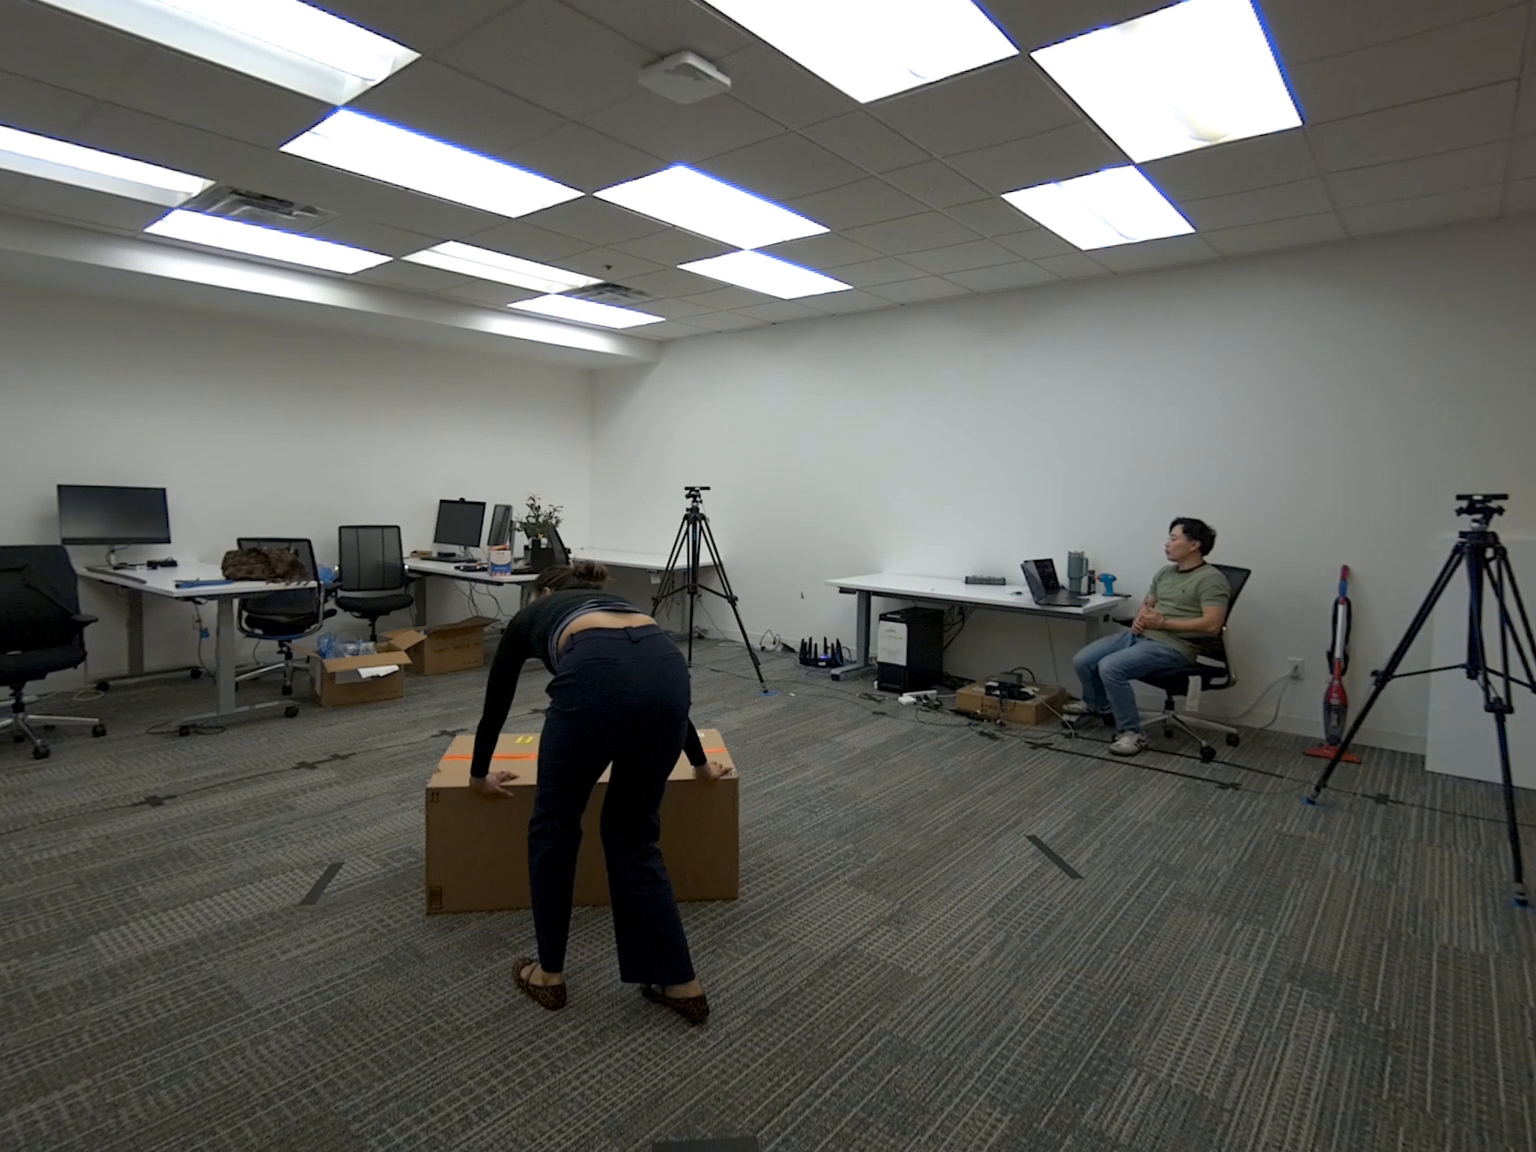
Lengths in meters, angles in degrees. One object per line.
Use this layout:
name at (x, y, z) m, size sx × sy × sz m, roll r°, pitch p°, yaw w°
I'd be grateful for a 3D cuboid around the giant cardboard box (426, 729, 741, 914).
giant cardboard box at (-0.663, 0.847, 3.080) m, size 1.017 × 0.424 × 0.585 m, roll 0°, pitch 6°, yaw -8°
